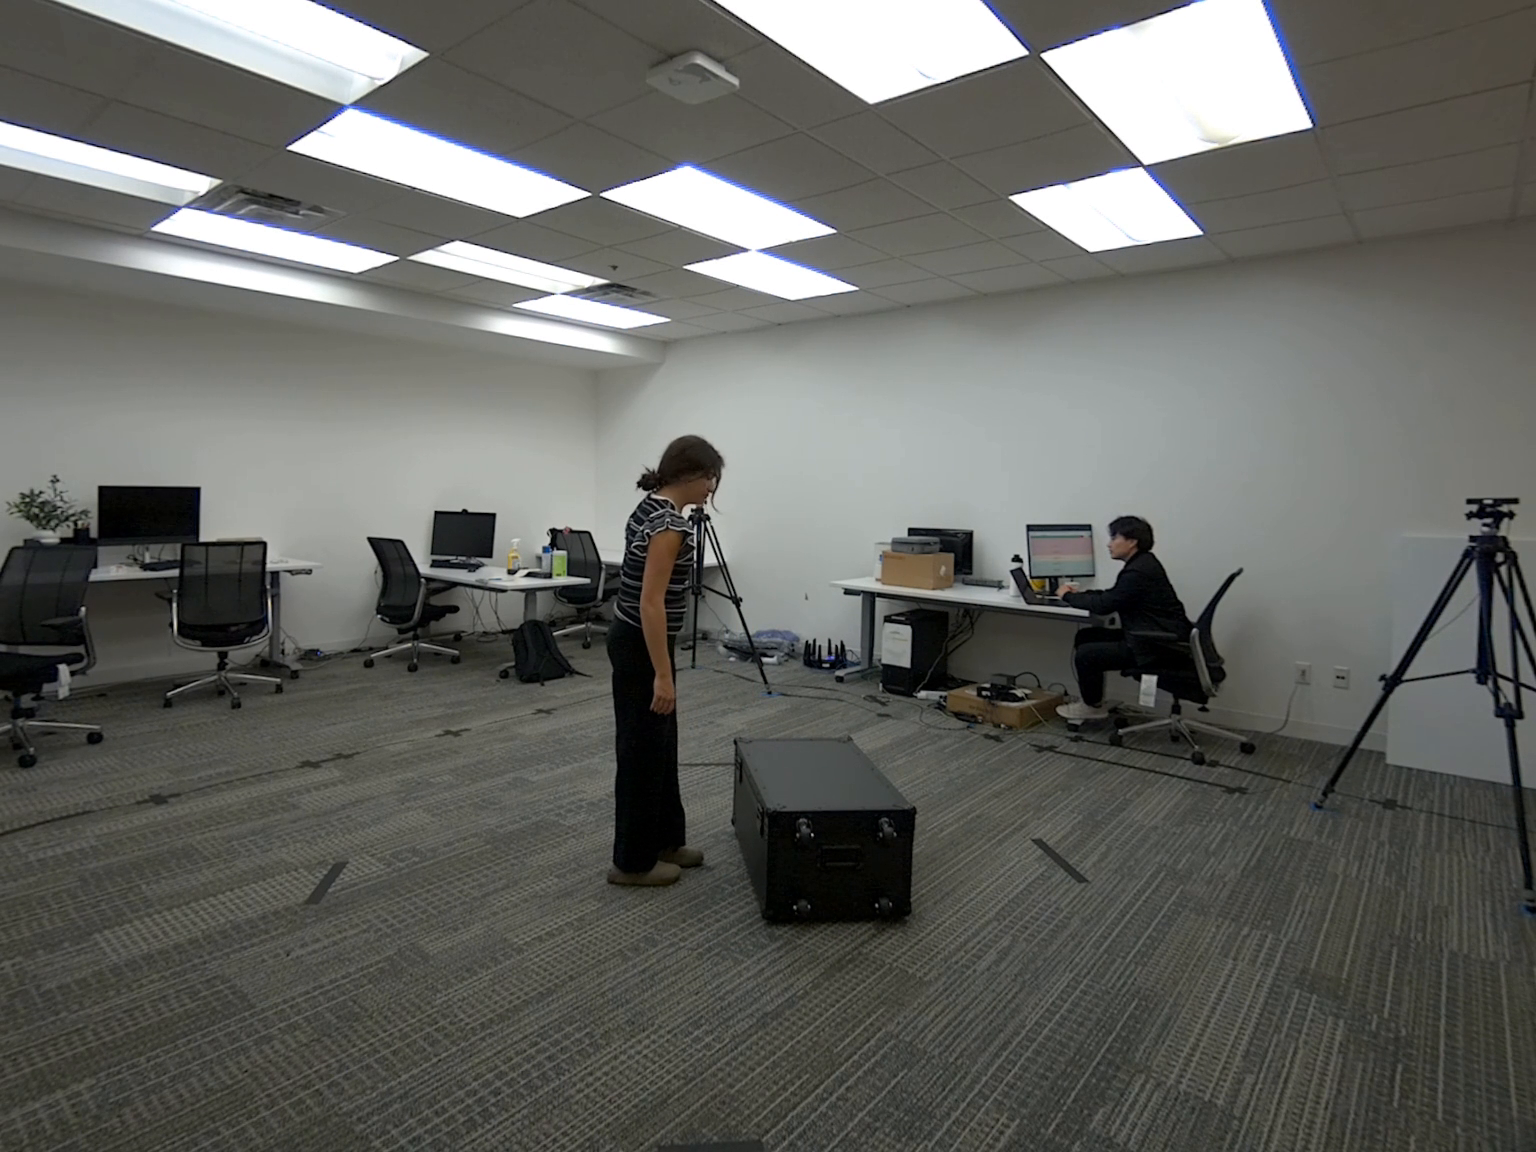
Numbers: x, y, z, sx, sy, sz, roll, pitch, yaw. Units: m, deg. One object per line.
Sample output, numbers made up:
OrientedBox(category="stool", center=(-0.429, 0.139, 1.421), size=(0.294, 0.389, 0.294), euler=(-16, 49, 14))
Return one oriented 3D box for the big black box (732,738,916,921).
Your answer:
OrientedBox(category="big black box", center=(0.160, 0.885, 3.065), size=(0.516, 0.395, 0.873), euler=(0, 5, -10))
